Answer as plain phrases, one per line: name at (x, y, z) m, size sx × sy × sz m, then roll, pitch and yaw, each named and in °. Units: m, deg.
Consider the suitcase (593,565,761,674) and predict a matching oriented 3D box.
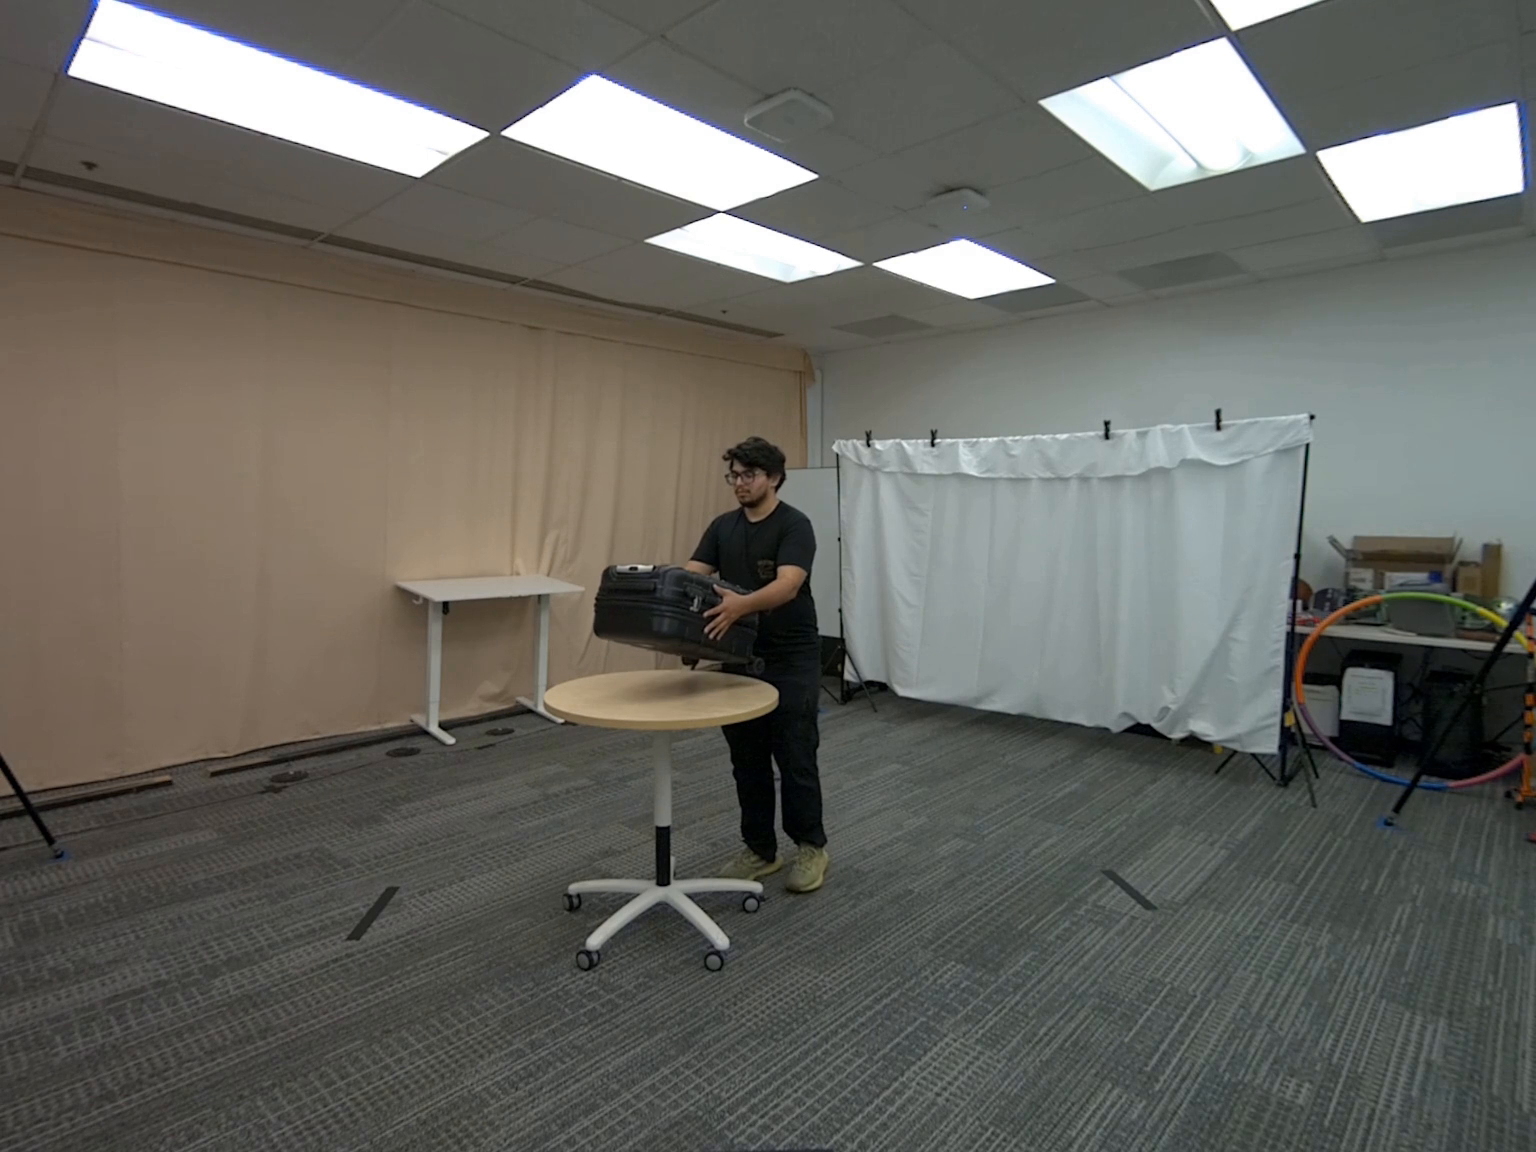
suitcase at (-0.285, 0.136, 2.781) m, size 0.387 × 0.249 × 0.530 m, roll 1°, pitch -12°, yaw 36°
